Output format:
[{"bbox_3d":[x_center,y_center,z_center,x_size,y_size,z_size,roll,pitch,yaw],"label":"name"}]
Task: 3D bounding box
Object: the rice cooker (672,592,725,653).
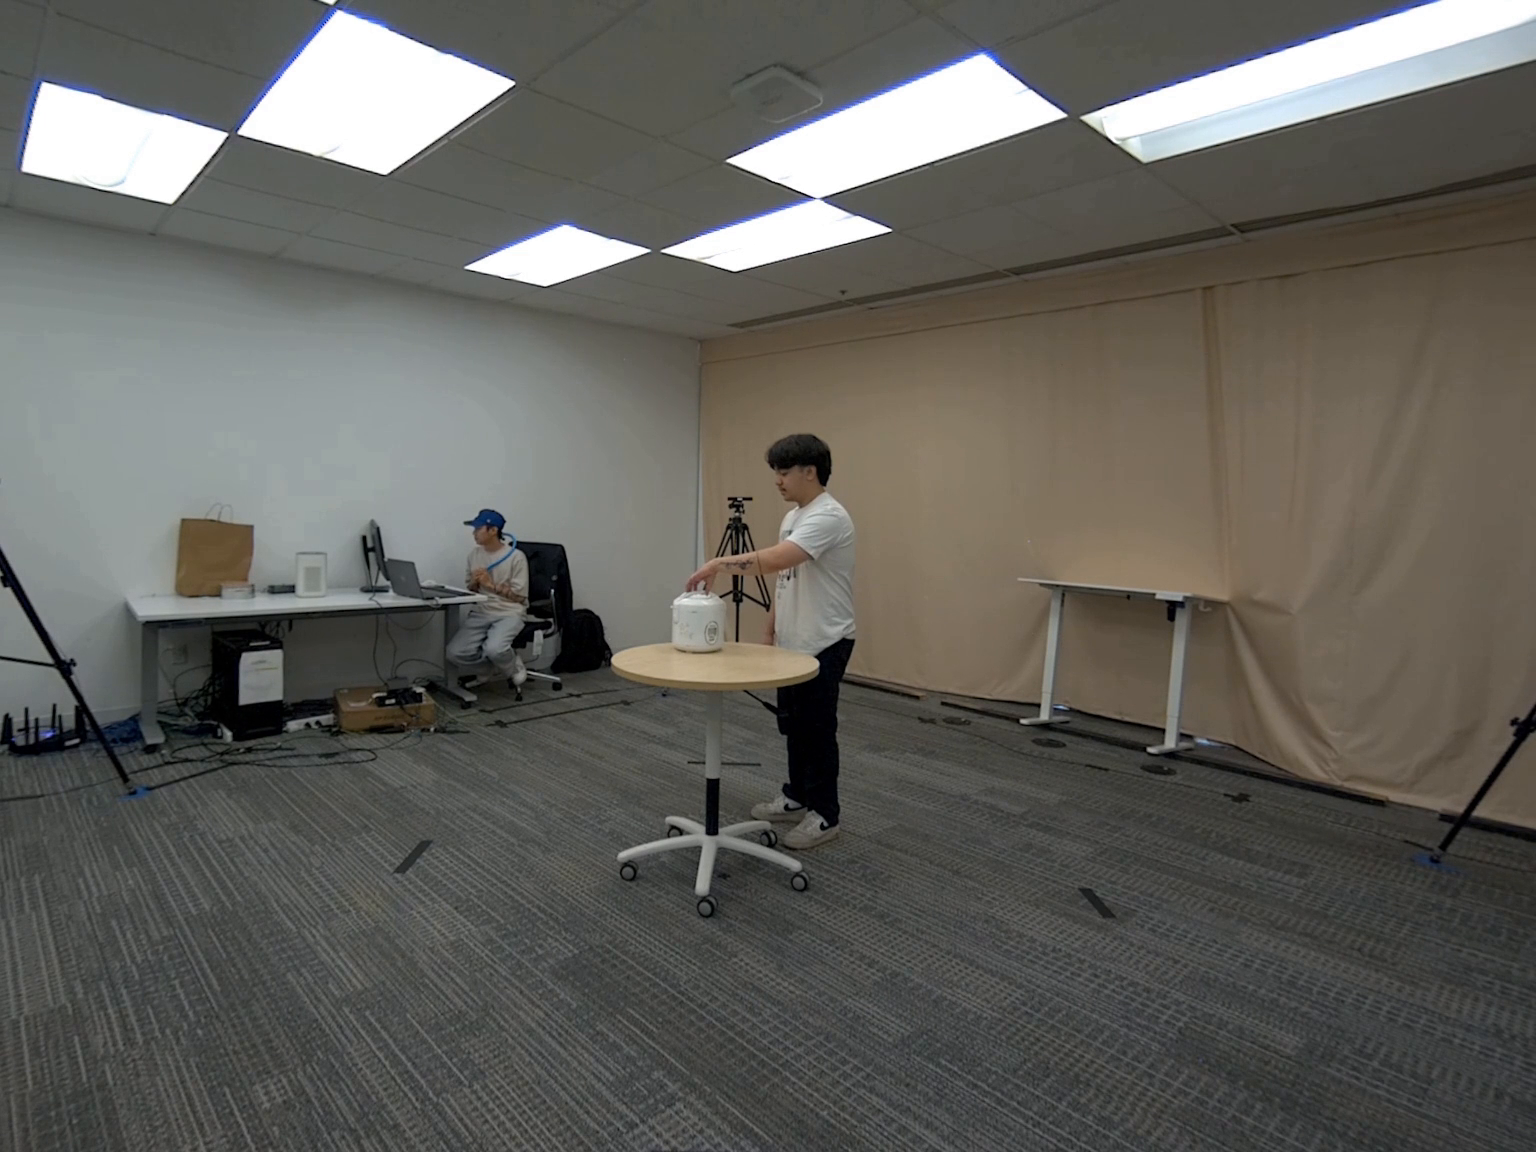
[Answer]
[{"bbox_3d":[-0.278,0.172,3.301,0.216,0.232,0.222,-1,3,-33],"label":"rice cooker"}]
